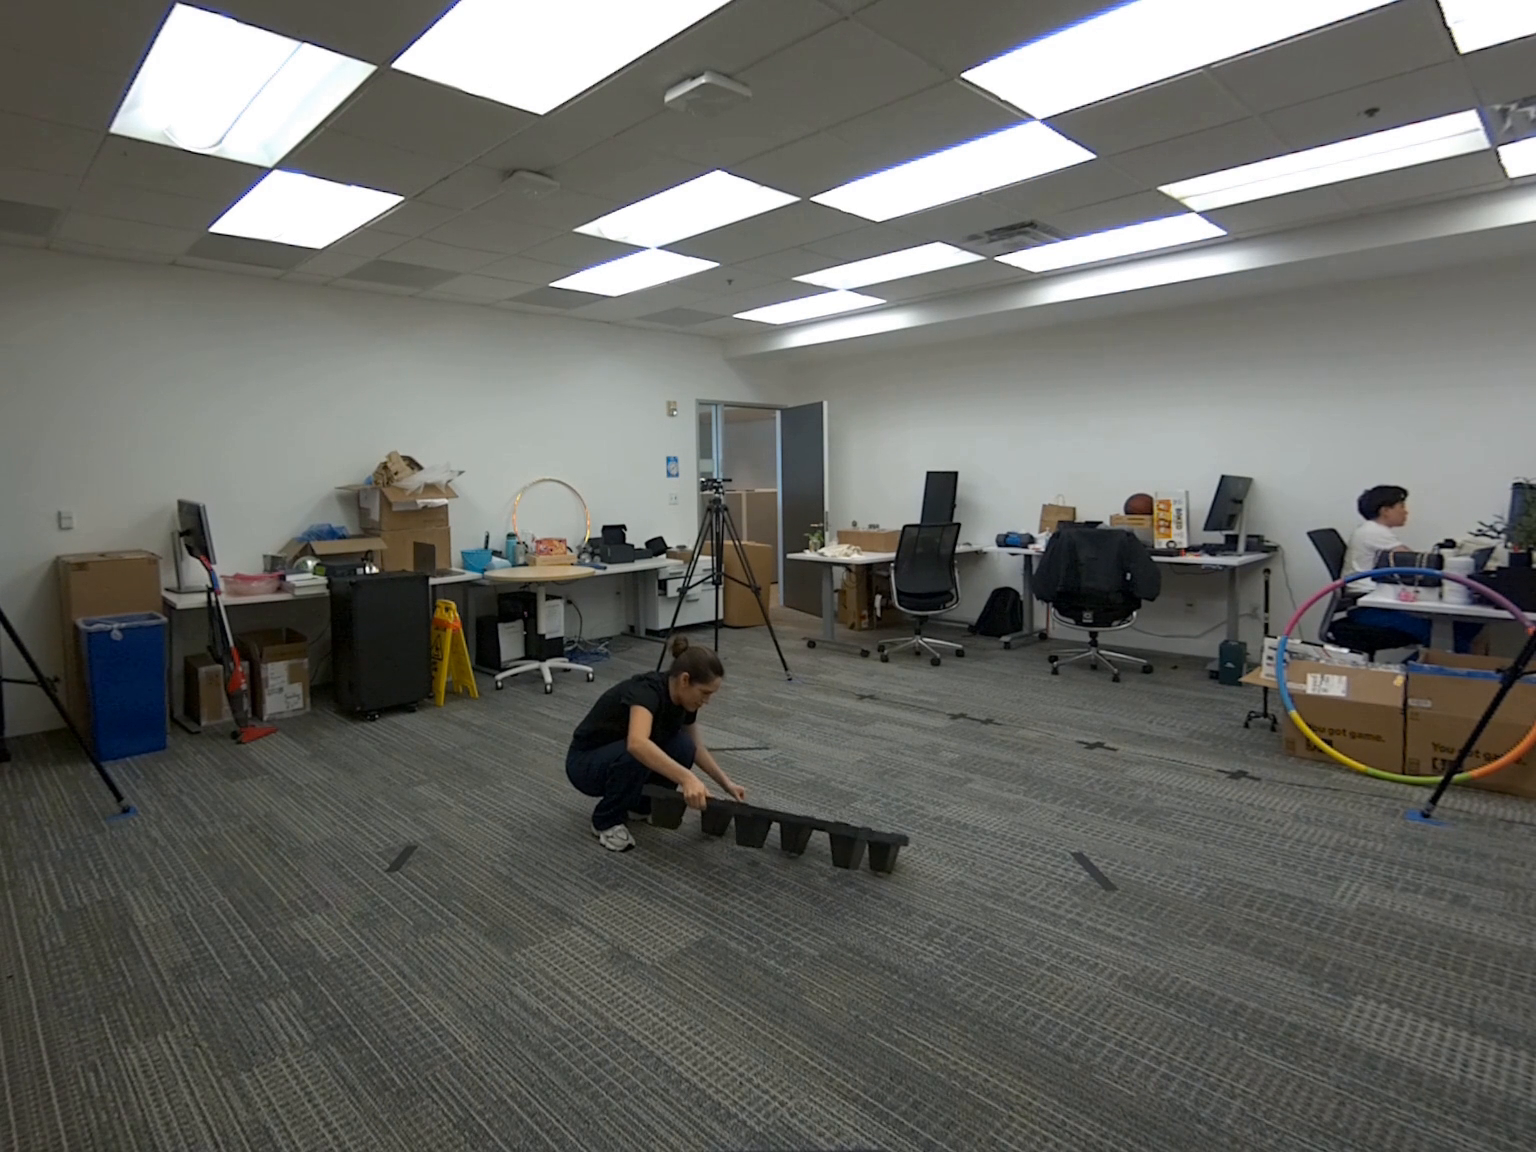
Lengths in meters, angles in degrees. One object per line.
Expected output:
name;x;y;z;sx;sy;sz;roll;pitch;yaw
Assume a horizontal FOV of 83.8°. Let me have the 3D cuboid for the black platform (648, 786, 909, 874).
black platform;0.028;0.898;3.026;0.826;0.145;0.583;2;-17;28
